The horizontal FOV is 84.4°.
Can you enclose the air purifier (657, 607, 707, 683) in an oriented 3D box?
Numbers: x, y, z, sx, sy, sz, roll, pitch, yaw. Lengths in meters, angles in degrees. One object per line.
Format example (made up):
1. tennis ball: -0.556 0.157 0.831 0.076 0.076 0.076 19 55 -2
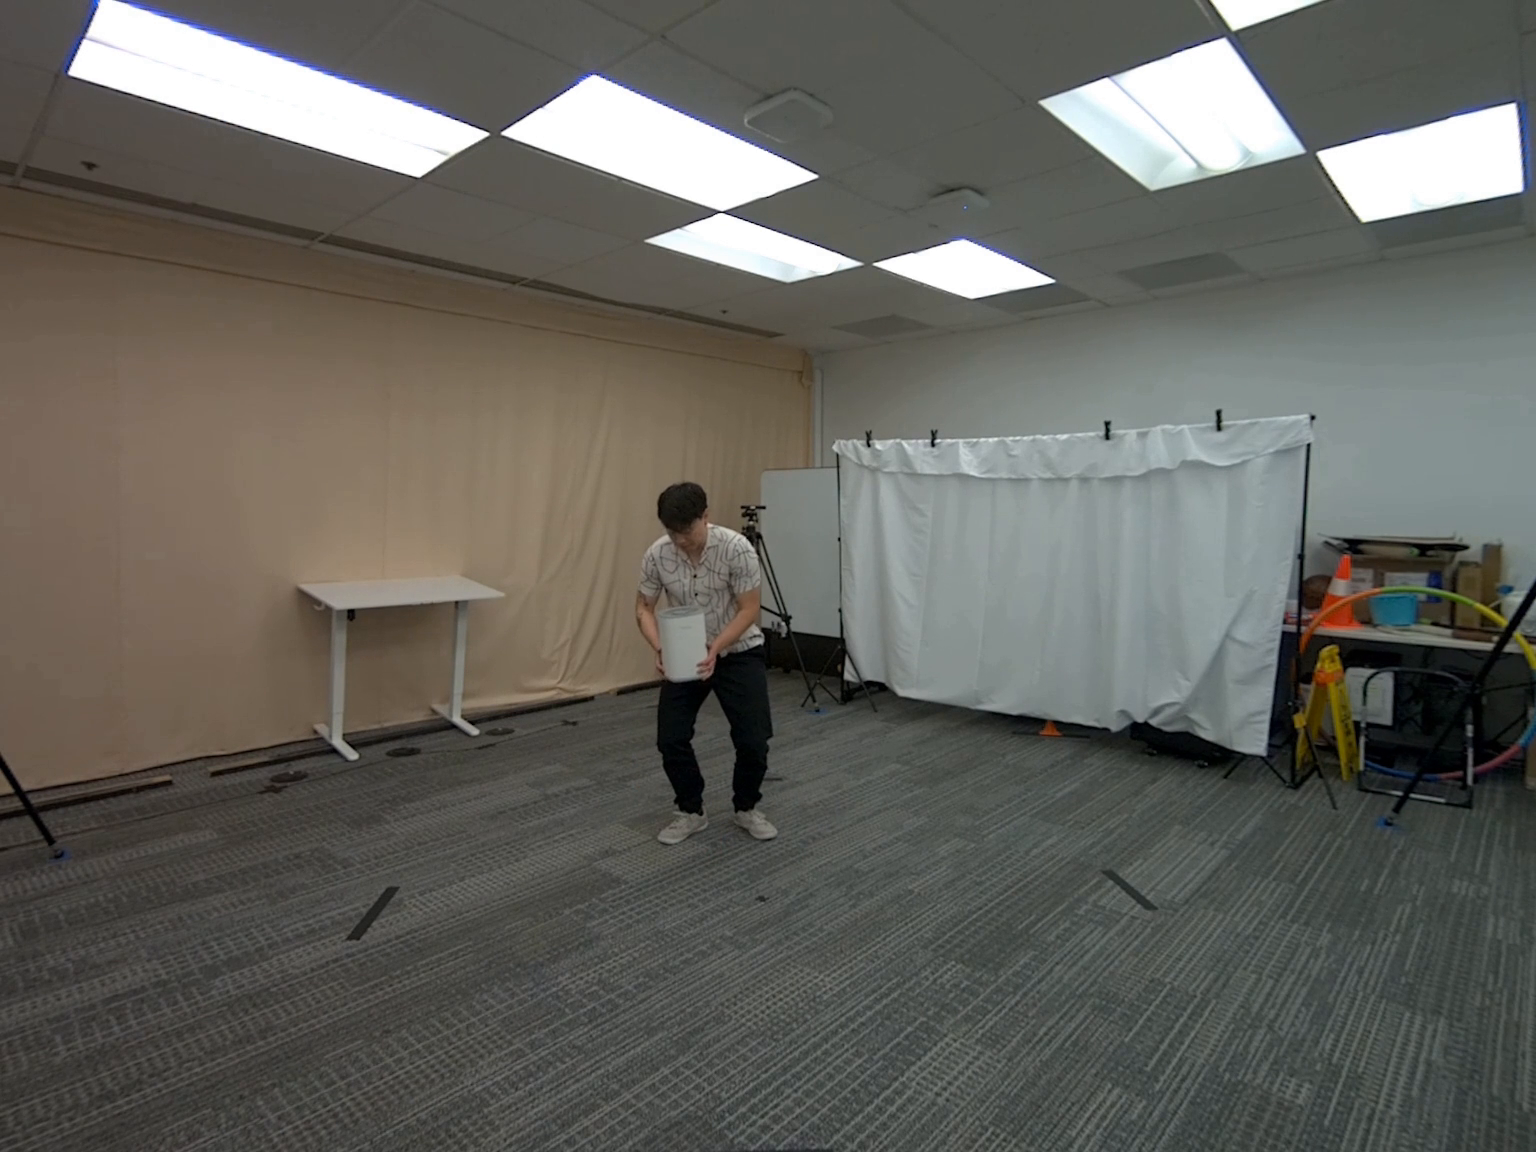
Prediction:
1. air purifier: -0.324 0.267 3.311 0.170 0.263 0.174 -7 10 -10
